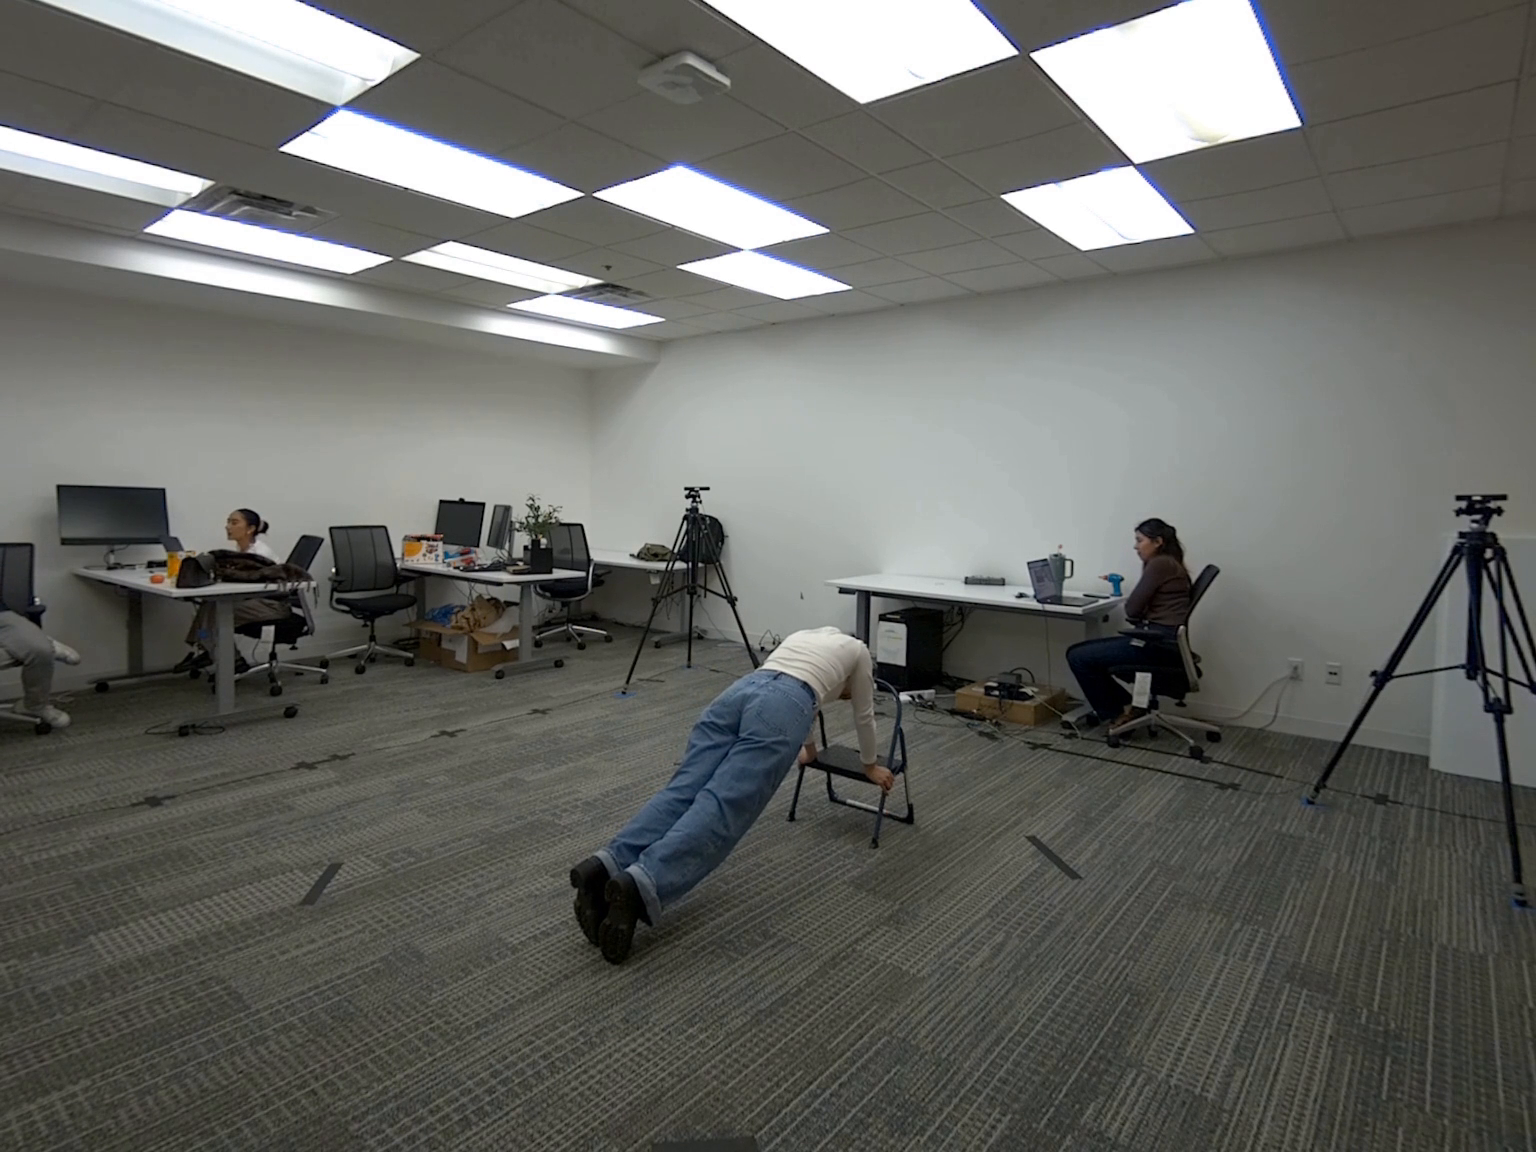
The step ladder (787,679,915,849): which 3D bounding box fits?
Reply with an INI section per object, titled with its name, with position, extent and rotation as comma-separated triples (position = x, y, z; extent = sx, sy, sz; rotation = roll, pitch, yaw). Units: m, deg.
[step ladder]
position = 0.352, 0.730, 3.562
extent = 0.445, 0.604, 0.339
rotation = 4, 5, 38
